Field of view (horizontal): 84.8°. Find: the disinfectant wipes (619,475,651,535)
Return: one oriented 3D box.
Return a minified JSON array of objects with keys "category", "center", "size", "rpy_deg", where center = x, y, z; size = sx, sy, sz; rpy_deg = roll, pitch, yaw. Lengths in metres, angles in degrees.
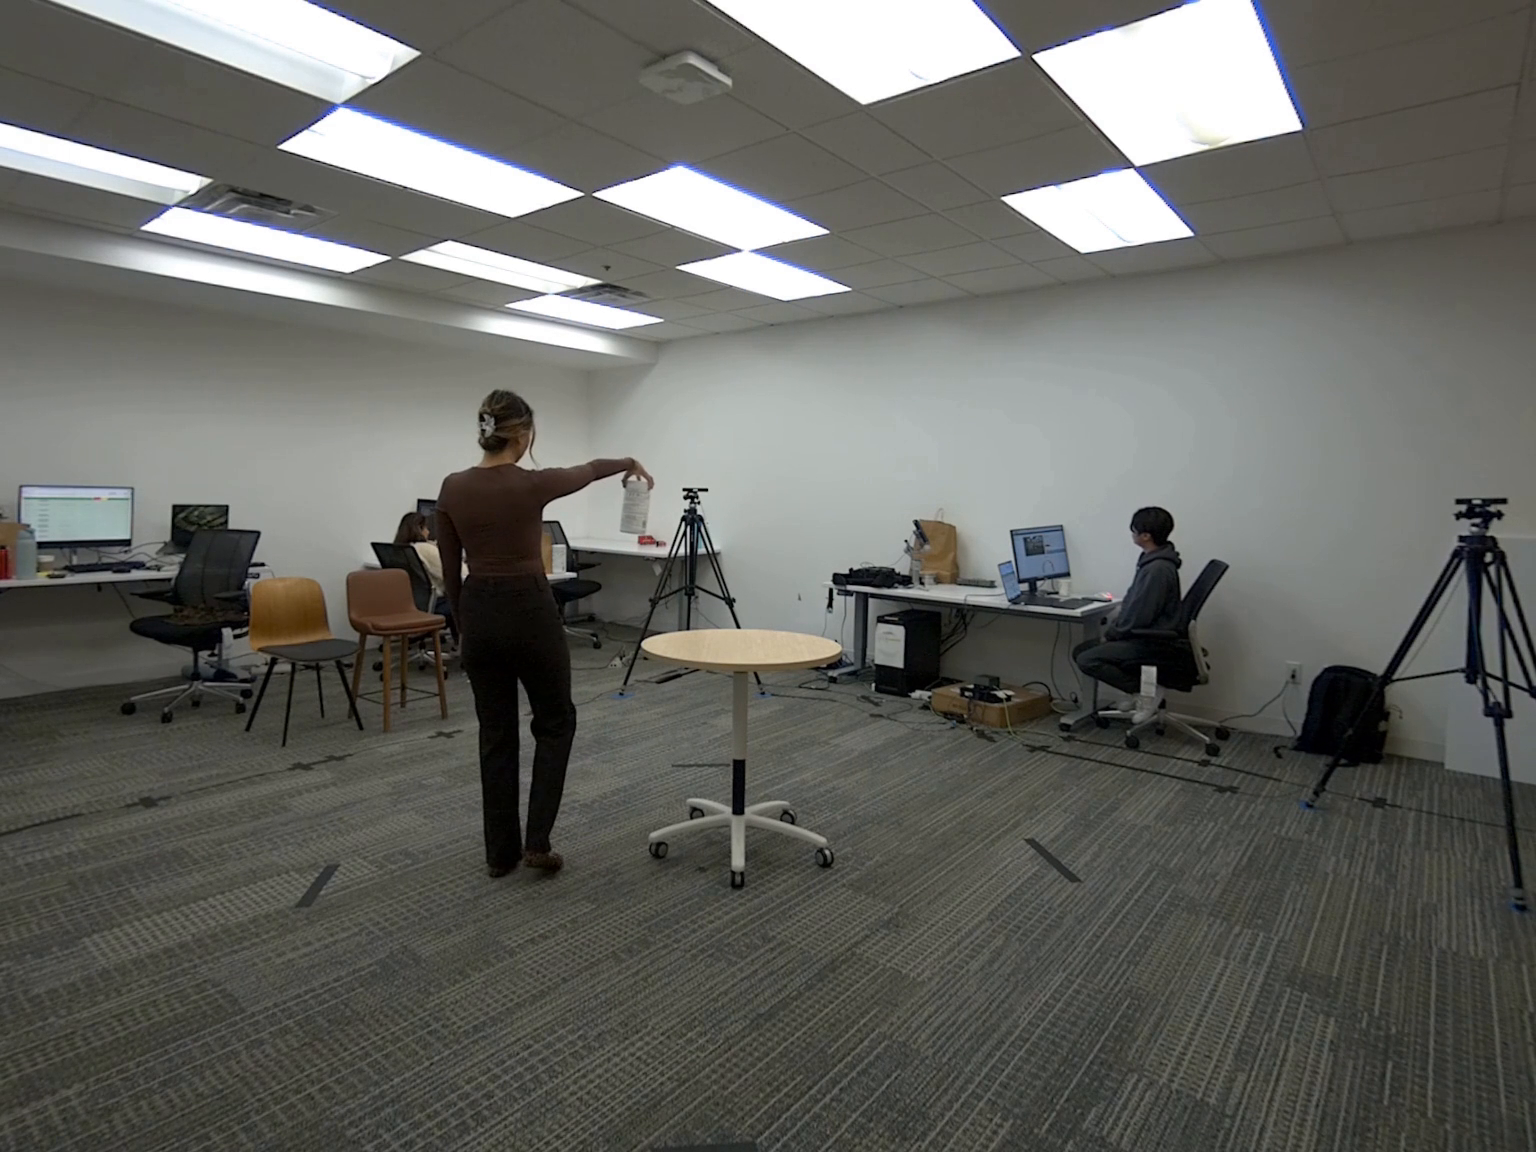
[{"category":"disinfectant wipes","center":[-0.550,-0.283,3.483],"size":[0.117,0.217,0.118],"rpy_deg":[5,3,-2]}]
